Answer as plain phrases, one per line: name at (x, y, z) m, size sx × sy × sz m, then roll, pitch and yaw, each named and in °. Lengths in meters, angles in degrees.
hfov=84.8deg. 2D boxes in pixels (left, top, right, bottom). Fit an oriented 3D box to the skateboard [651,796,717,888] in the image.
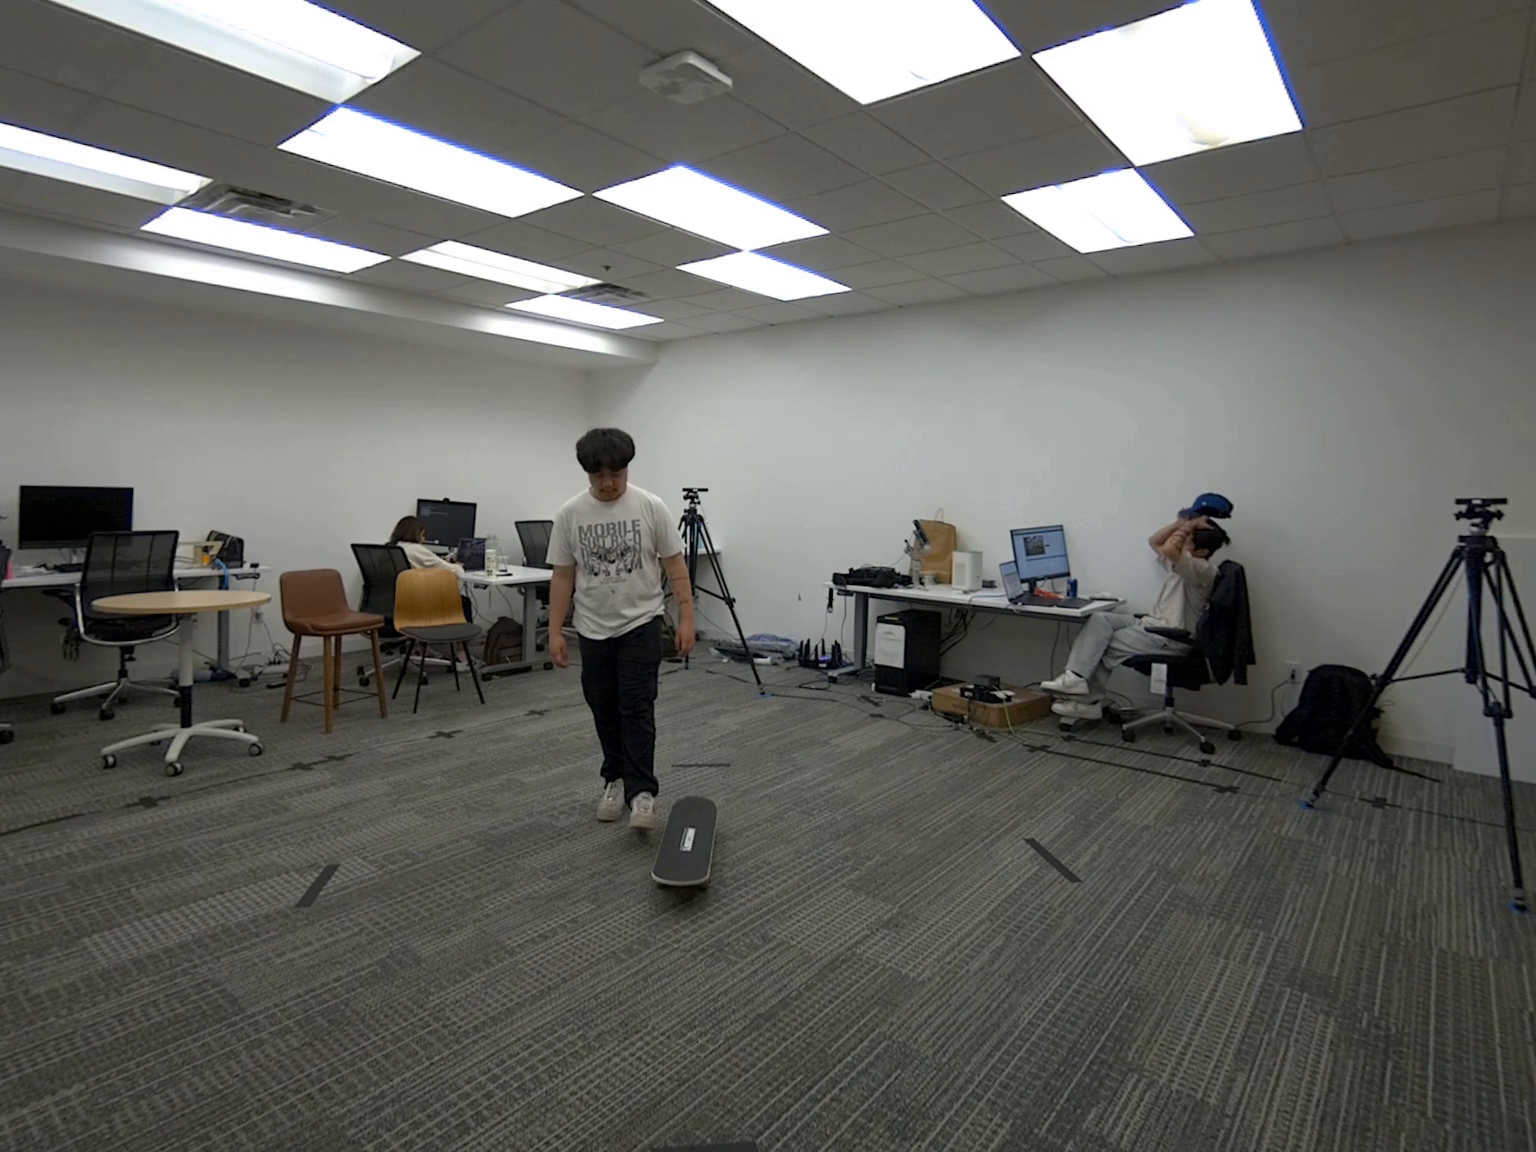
skateboard at (-0.306, 1.003, 3.161) m, size 0.194 × 0.110 × 0.786 m, roll 1°, pitch 5°, yaw 0°
